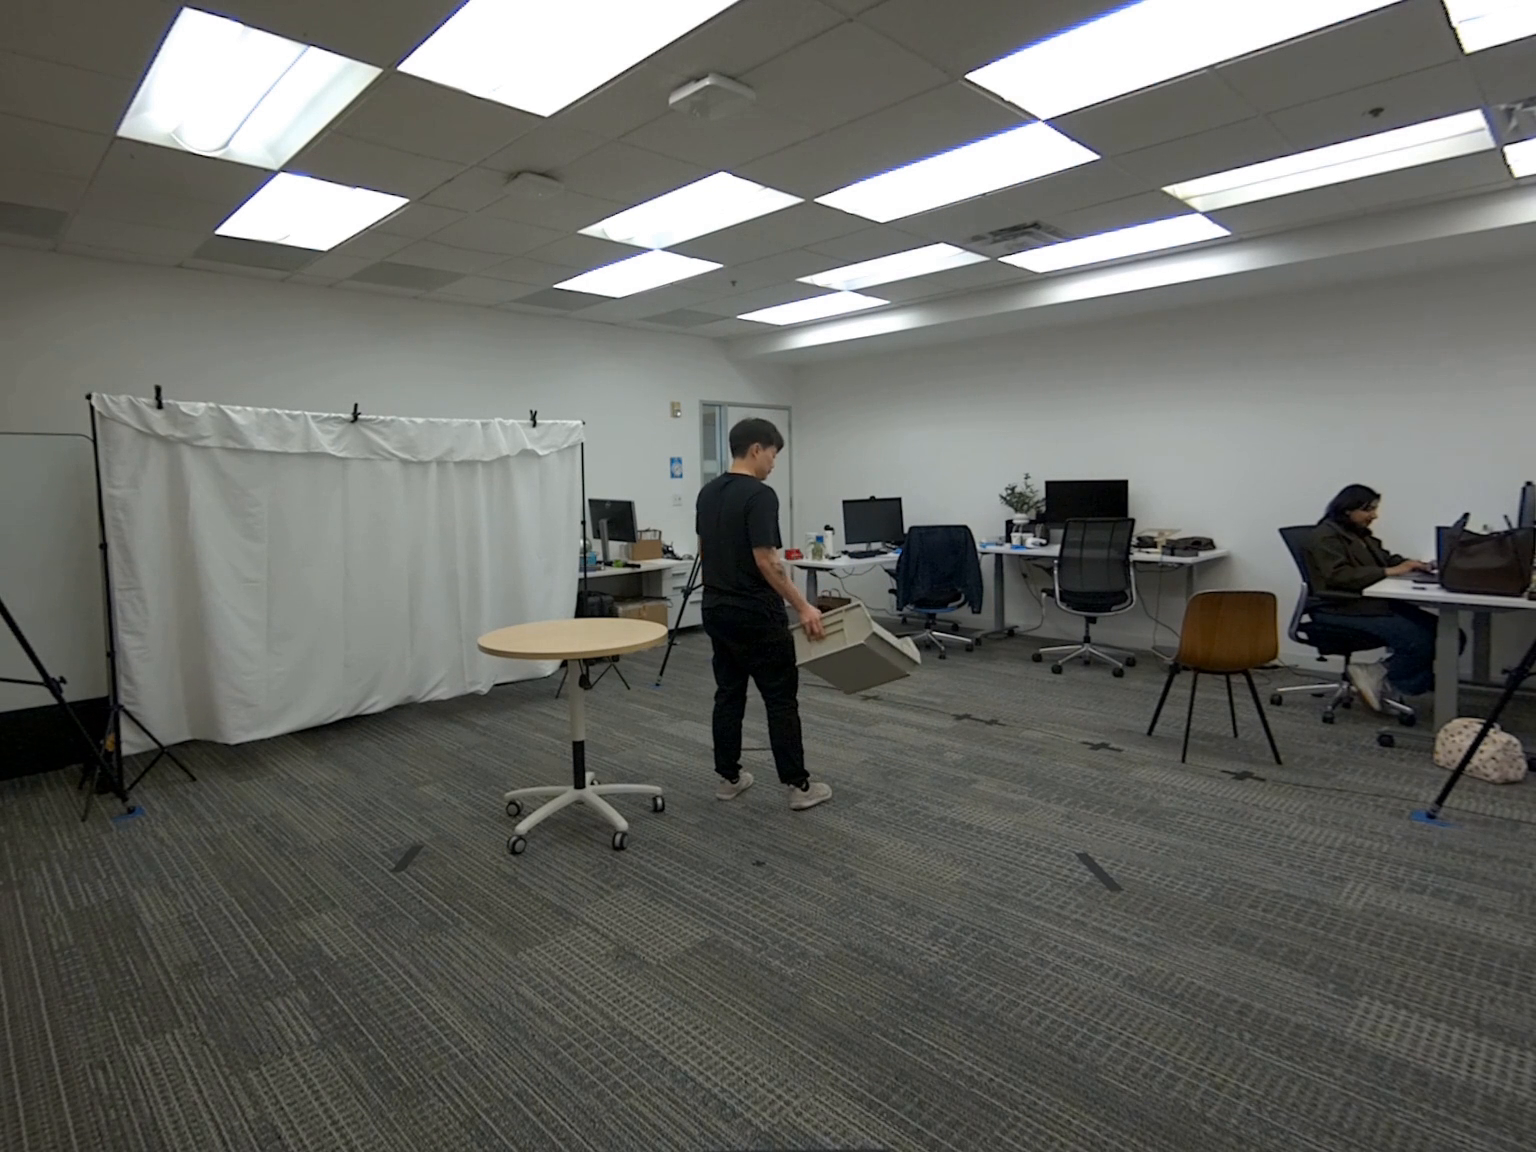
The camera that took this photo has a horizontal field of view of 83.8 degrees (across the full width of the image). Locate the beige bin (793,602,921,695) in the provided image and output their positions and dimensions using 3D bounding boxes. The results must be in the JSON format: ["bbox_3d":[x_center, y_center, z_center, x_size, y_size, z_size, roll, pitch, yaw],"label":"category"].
[{"bbox_3d":[0.365,0.302,3.554,0.382,0.194,0.406,-23,-36,28],"label":"beige bin"}]
